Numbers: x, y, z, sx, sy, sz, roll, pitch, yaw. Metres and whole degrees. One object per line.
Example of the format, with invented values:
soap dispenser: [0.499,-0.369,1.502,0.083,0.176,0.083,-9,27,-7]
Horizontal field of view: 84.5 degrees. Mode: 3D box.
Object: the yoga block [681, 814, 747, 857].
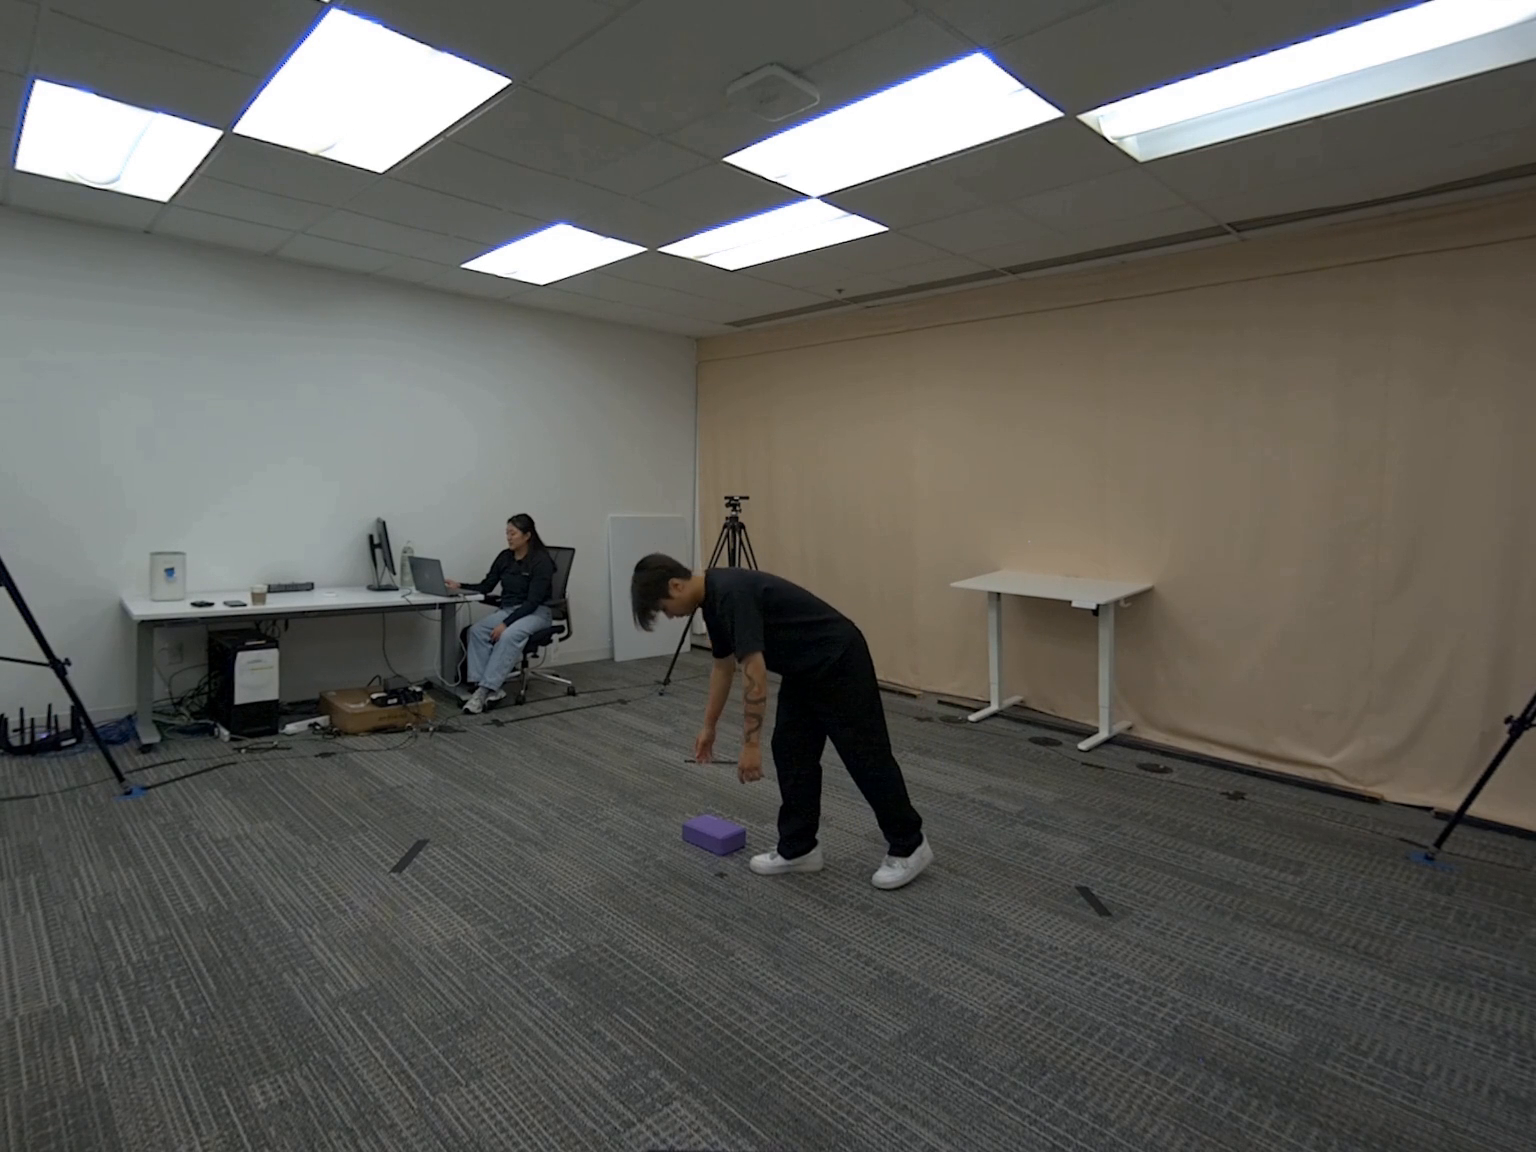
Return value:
yoga block: [-0.226,1.037,3.384,0.235,0.076,0.145,6,6,41]
